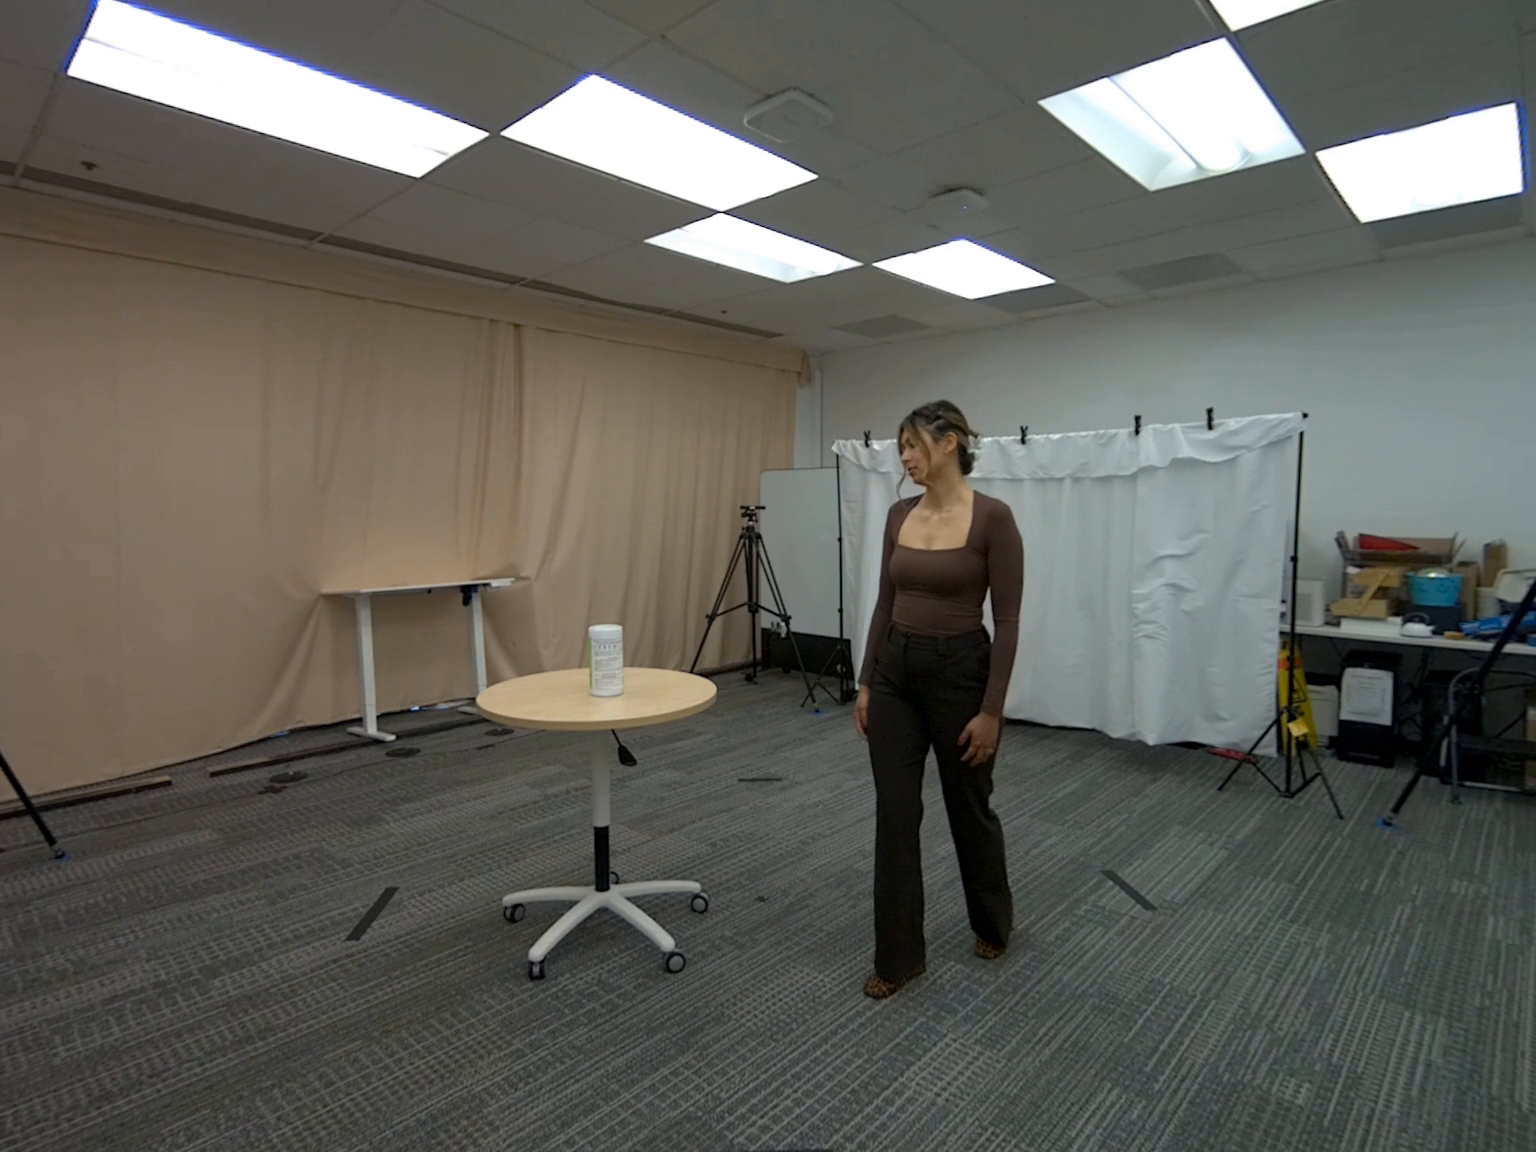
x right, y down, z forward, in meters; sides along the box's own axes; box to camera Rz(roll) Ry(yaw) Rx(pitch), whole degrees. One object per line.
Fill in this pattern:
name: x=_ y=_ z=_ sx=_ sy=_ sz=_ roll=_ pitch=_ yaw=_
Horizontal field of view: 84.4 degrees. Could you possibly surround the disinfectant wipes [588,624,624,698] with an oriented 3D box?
disinfectant wipes: x=-0.514 y=0.271 z=2.677 sx=0.118 sy=0.217 sz=0.118 roll=0 pitch=2 yaw=-2
